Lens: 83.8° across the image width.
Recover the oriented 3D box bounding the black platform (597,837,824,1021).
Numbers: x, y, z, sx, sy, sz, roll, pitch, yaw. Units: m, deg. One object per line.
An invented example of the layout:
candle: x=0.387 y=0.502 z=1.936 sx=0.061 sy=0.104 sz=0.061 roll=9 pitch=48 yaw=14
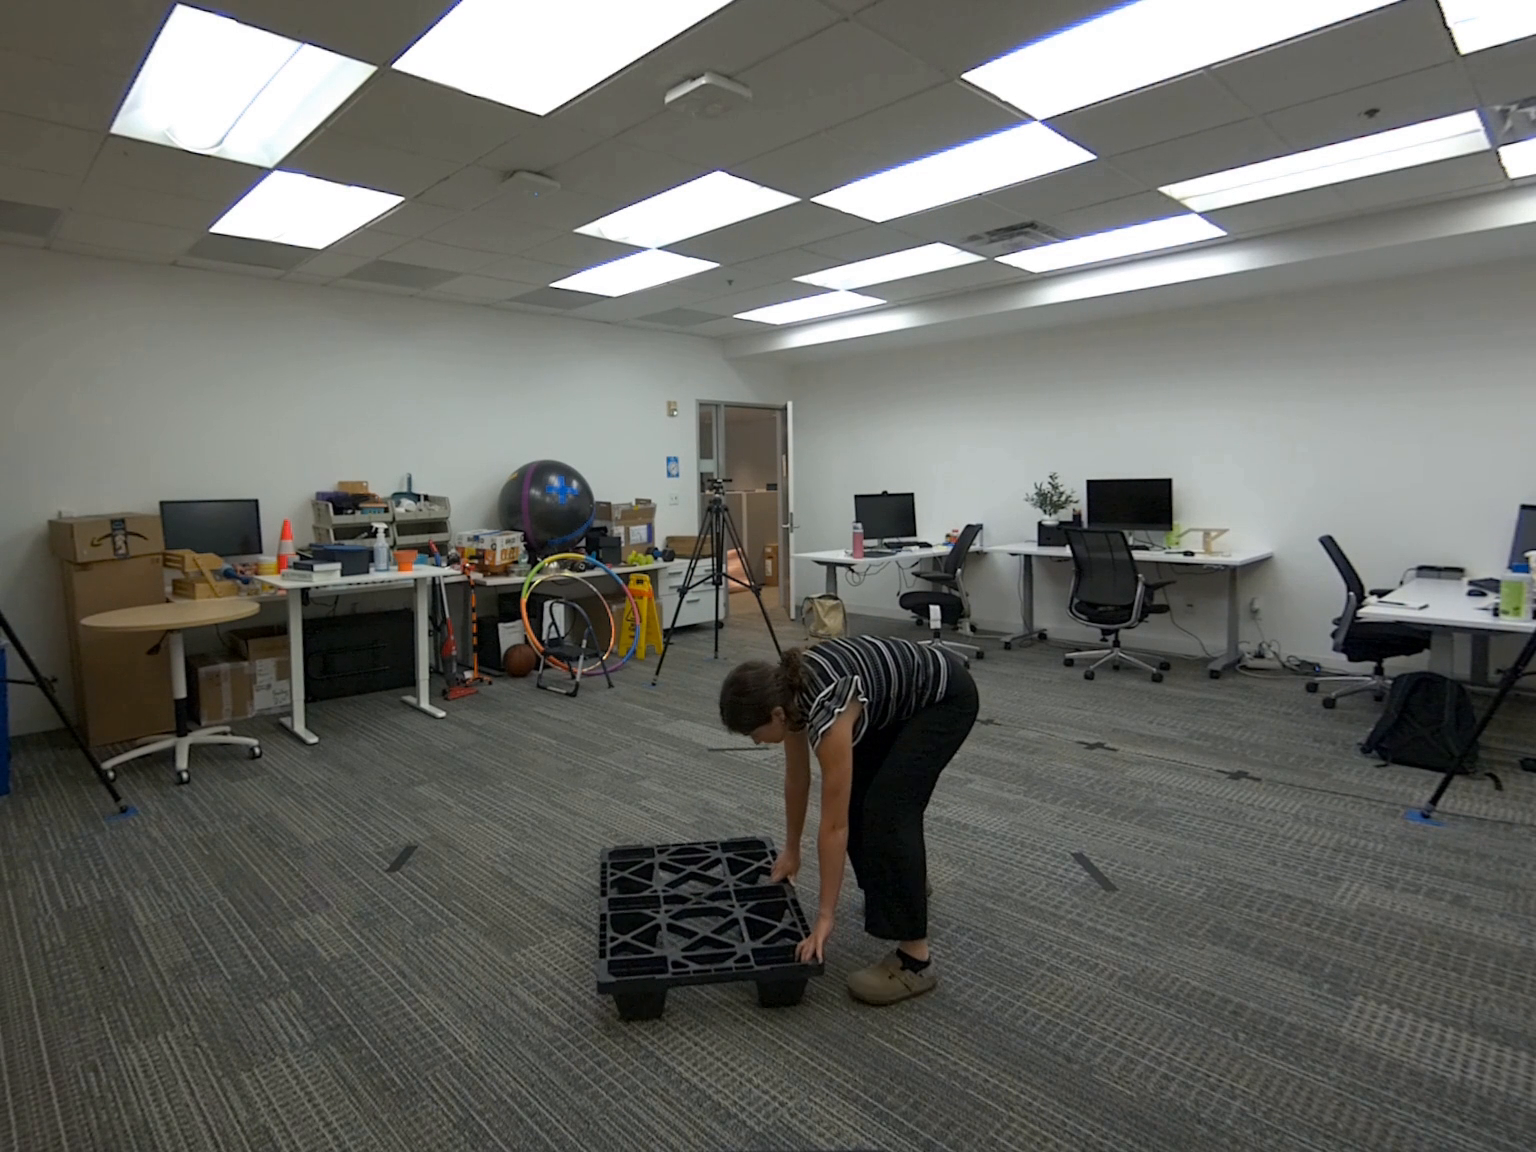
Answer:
black platform: x=-0.206 y=1.040 z=2.600 sx=0.600 sy=0.142 sz=0.816 roll=-3 pitch=6 yaw=-9
